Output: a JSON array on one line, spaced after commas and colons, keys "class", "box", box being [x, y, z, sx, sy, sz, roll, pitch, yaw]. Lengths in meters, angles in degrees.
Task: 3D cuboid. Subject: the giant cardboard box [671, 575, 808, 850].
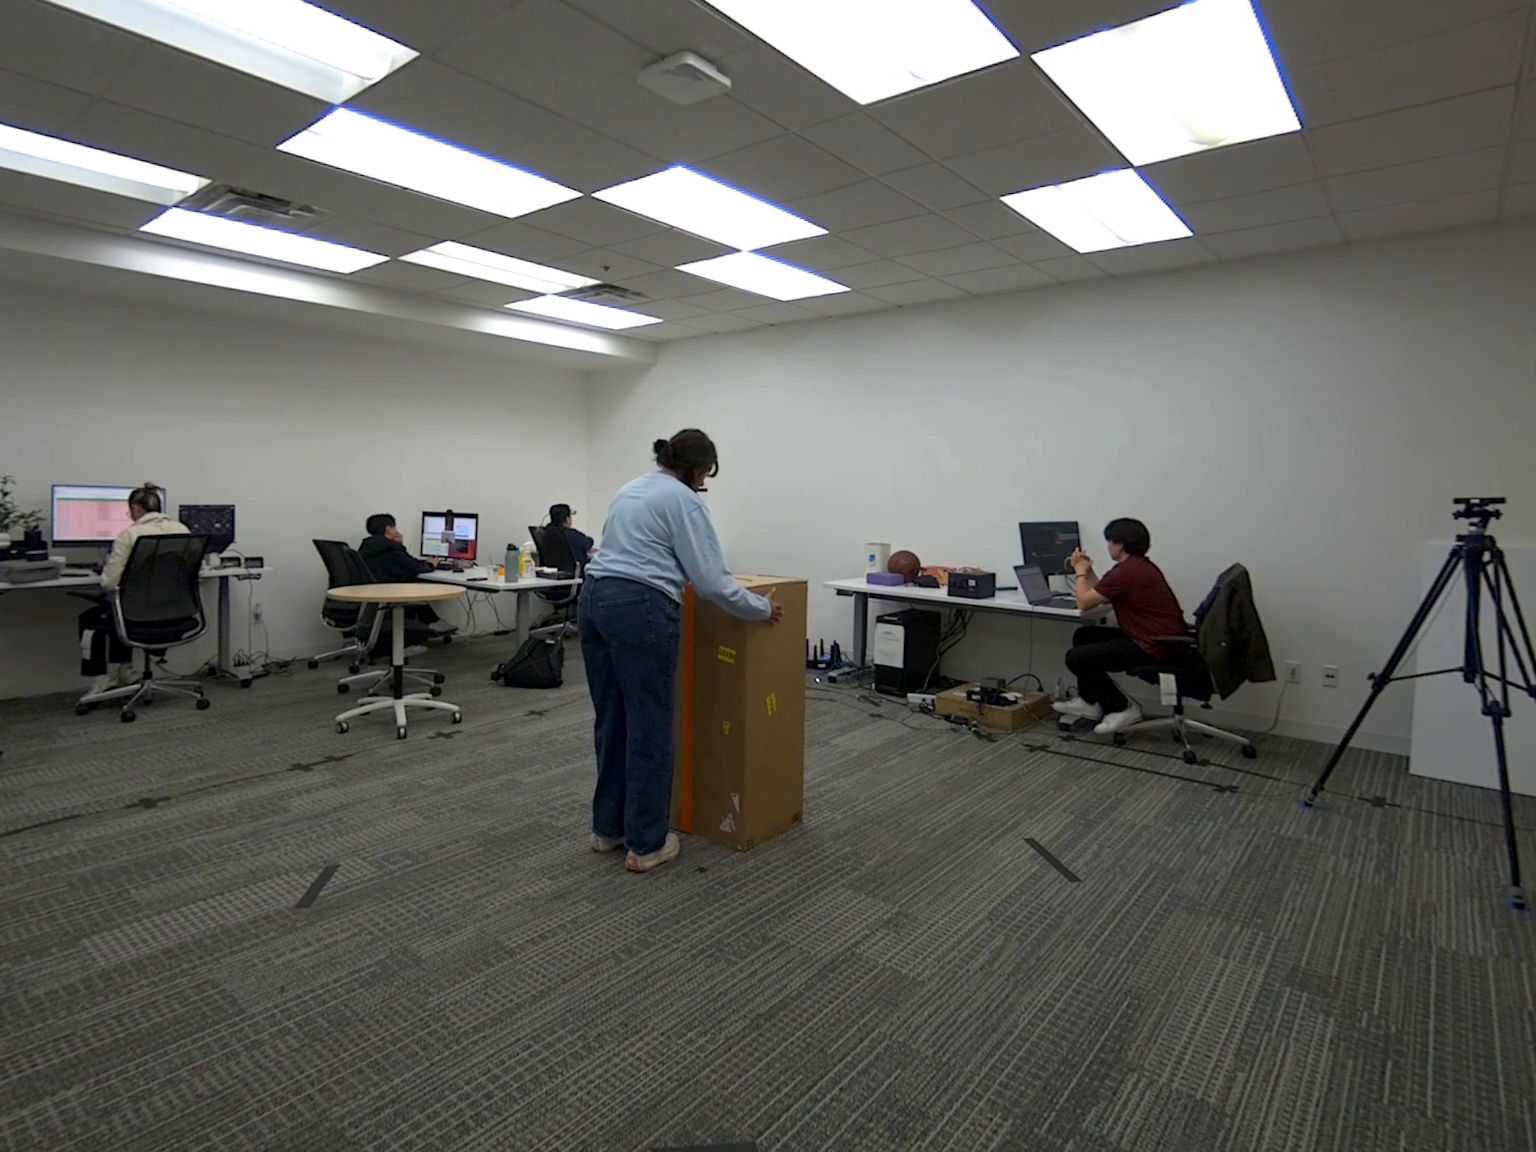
[{"class": "giant cardboard box", "box": [-0.201, 0.518, 3.580, 0.603, 1.024, 0.434, 3, 4, 39]}]
